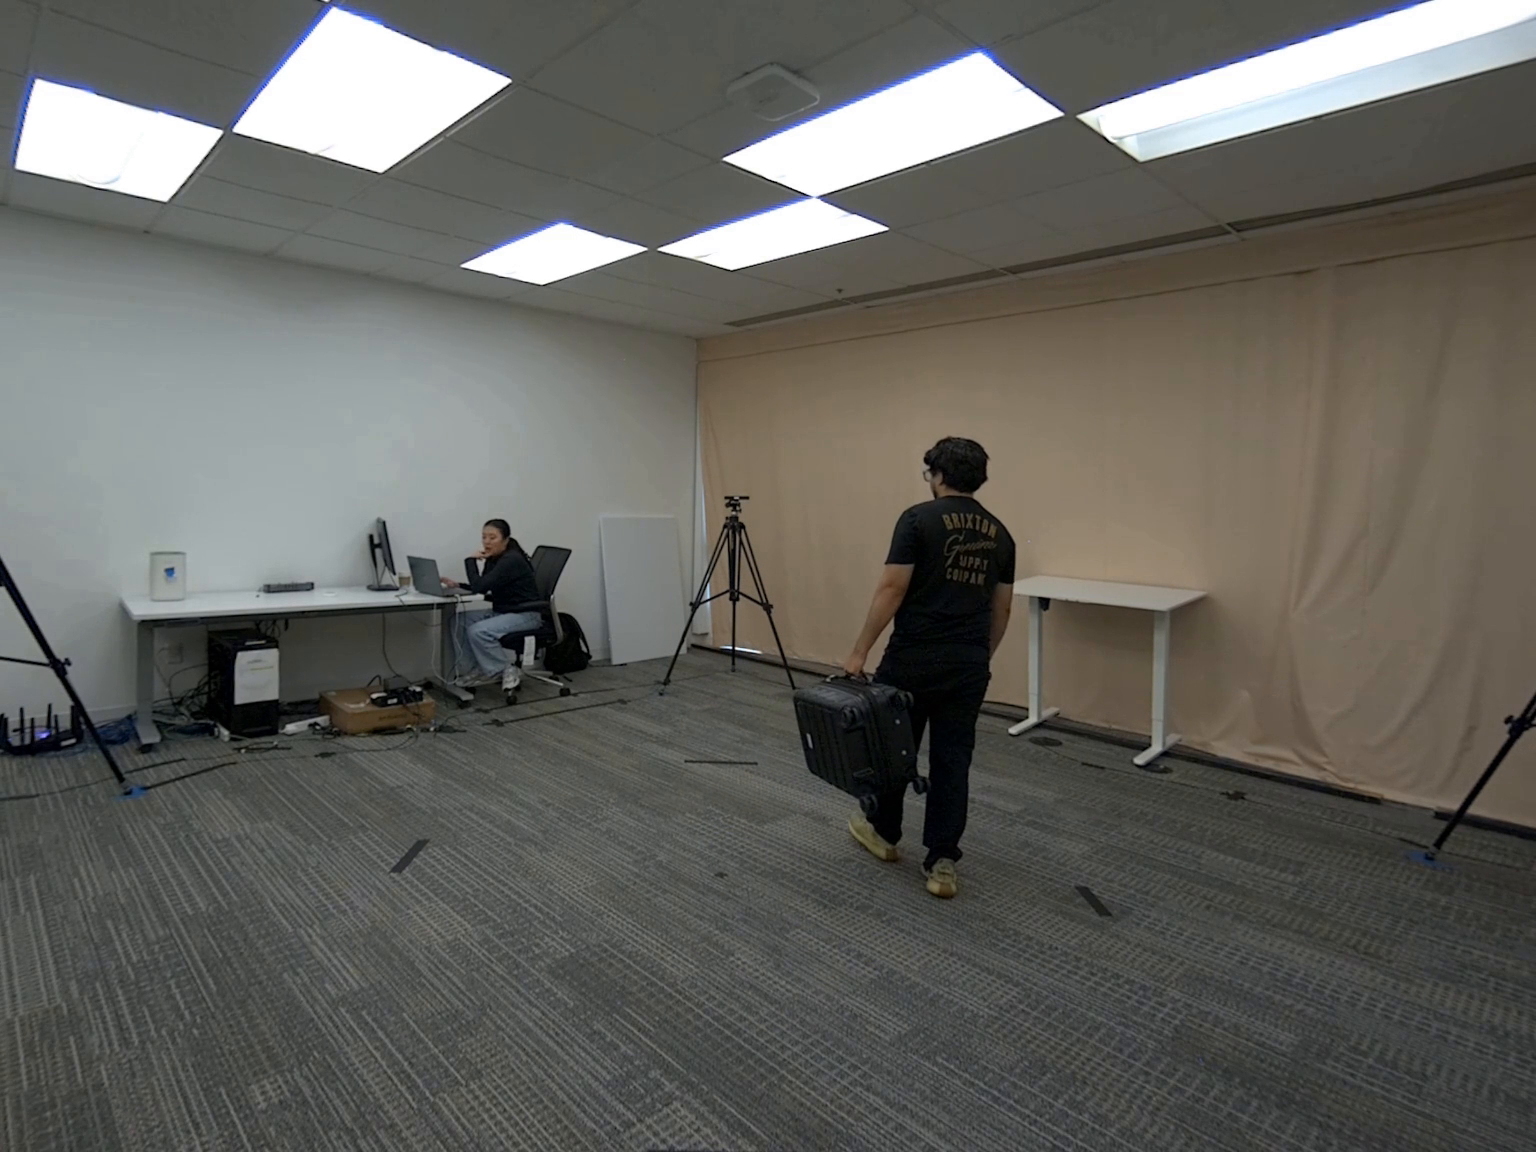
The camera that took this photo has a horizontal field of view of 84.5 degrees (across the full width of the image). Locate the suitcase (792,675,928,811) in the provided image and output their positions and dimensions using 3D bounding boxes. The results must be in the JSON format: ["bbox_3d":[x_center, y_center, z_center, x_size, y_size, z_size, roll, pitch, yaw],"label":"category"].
[{"bbox_3d":[0.226,0.579,3.255,0.254,0.384,0.989,-11,0,-20],"label":"suitcase"}]
